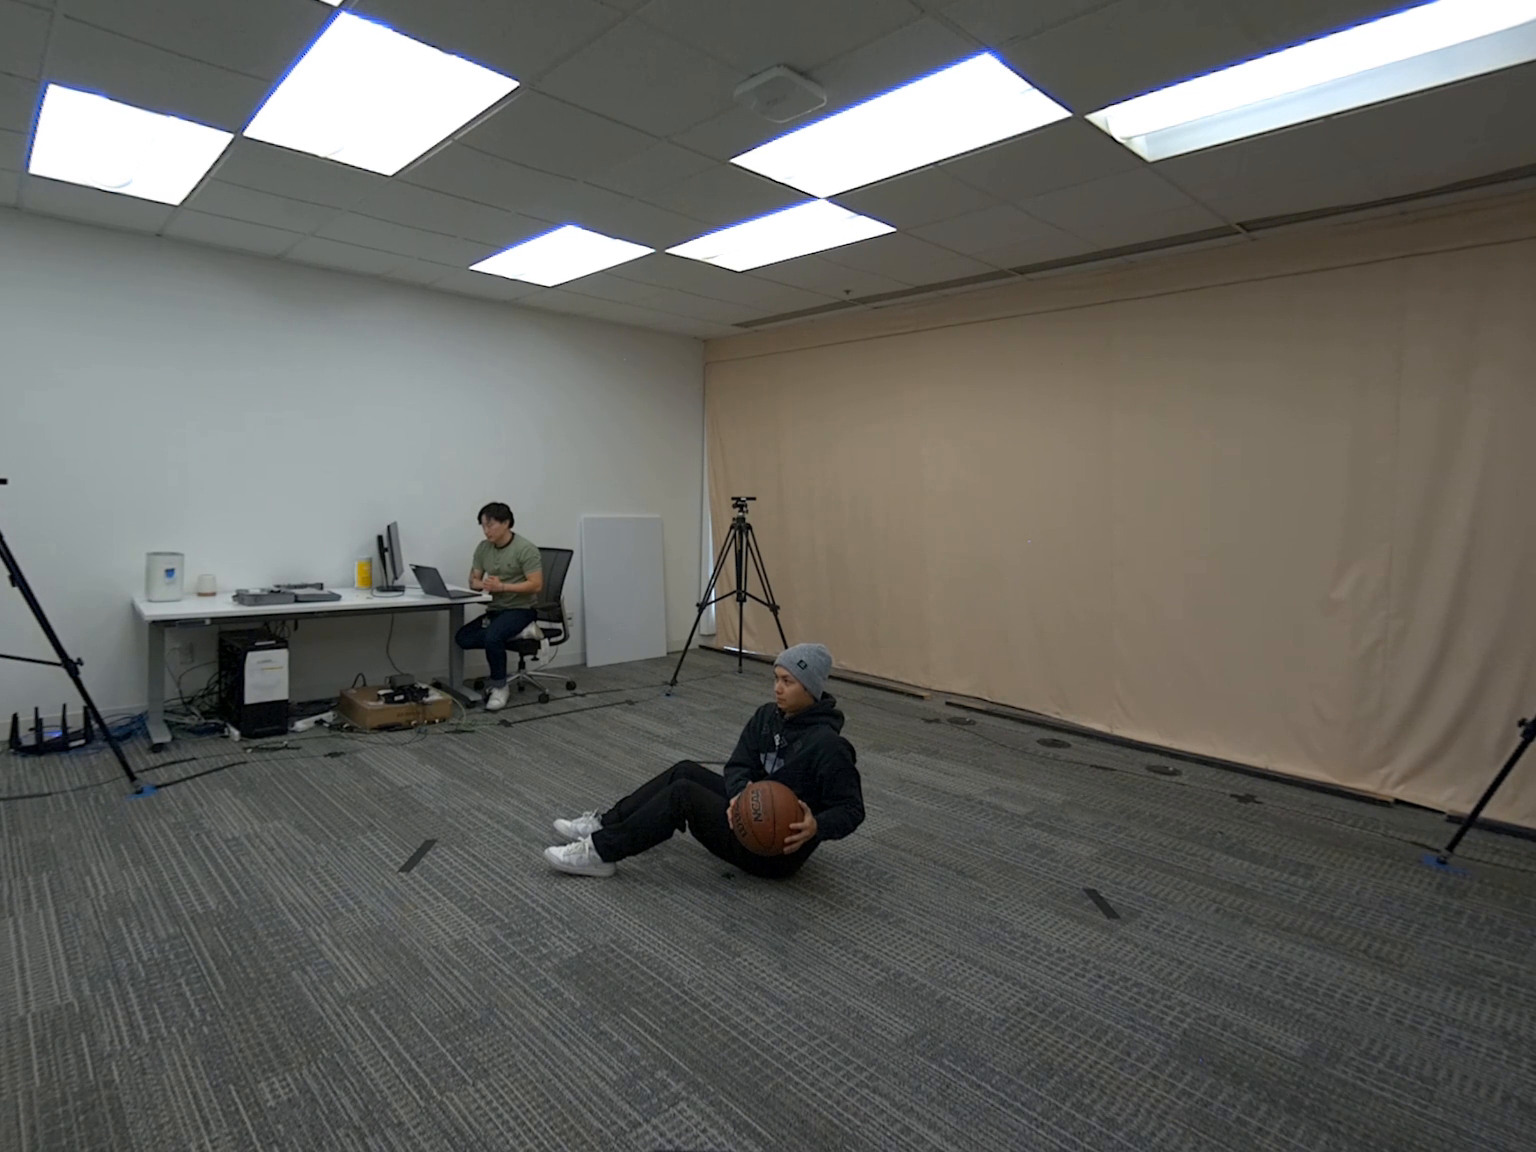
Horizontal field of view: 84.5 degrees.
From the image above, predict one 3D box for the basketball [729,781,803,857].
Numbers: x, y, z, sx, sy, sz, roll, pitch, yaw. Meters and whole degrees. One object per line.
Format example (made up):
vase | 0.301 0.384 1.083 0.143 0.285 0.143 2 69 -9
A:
basketball | -0.011 0.807 2.804 0.236 0.235 0.237 1 4 -1
